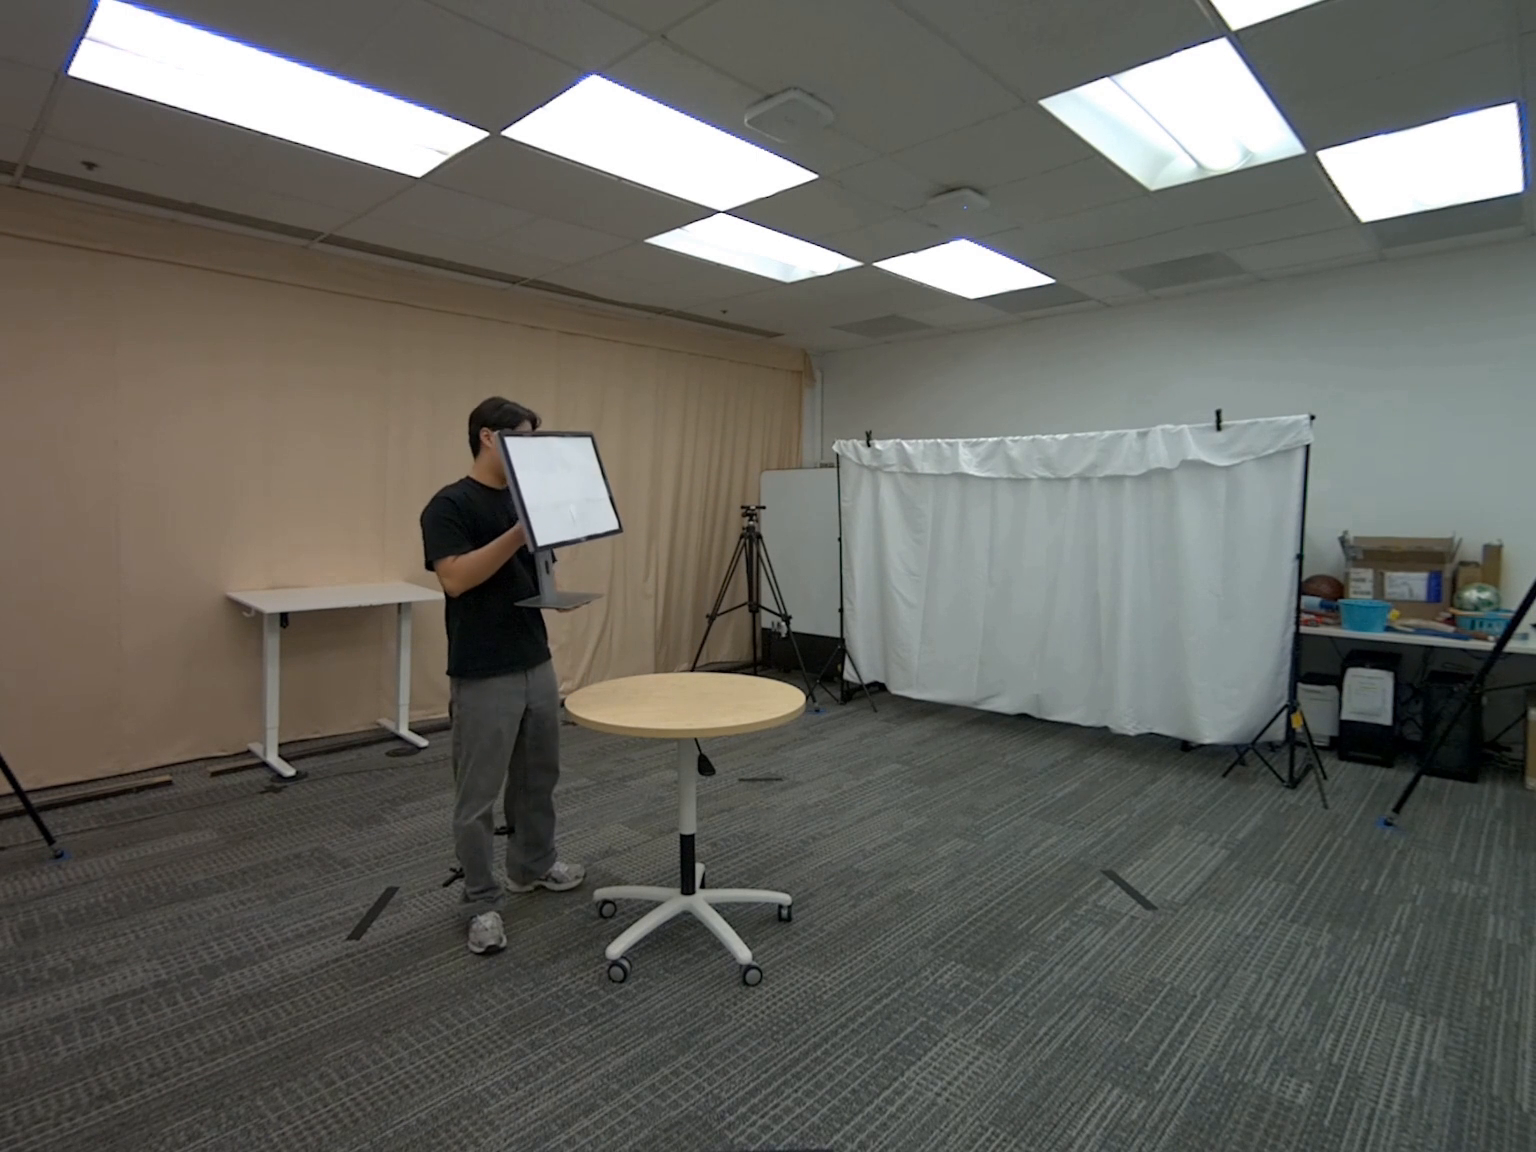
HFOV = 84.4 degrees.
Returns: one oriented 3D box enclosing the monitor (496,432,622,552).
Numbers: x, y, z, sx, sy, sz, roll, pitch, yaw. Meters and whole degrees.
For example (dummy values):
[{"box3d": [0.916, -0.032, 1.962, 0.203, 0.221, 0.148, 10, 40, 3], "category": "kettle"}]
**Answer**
[{"box3d": [-0.668, -0.174, 2.676, 0.227, 0.563, 0.552, 0, 8, 20], "category": "monitor"}]
